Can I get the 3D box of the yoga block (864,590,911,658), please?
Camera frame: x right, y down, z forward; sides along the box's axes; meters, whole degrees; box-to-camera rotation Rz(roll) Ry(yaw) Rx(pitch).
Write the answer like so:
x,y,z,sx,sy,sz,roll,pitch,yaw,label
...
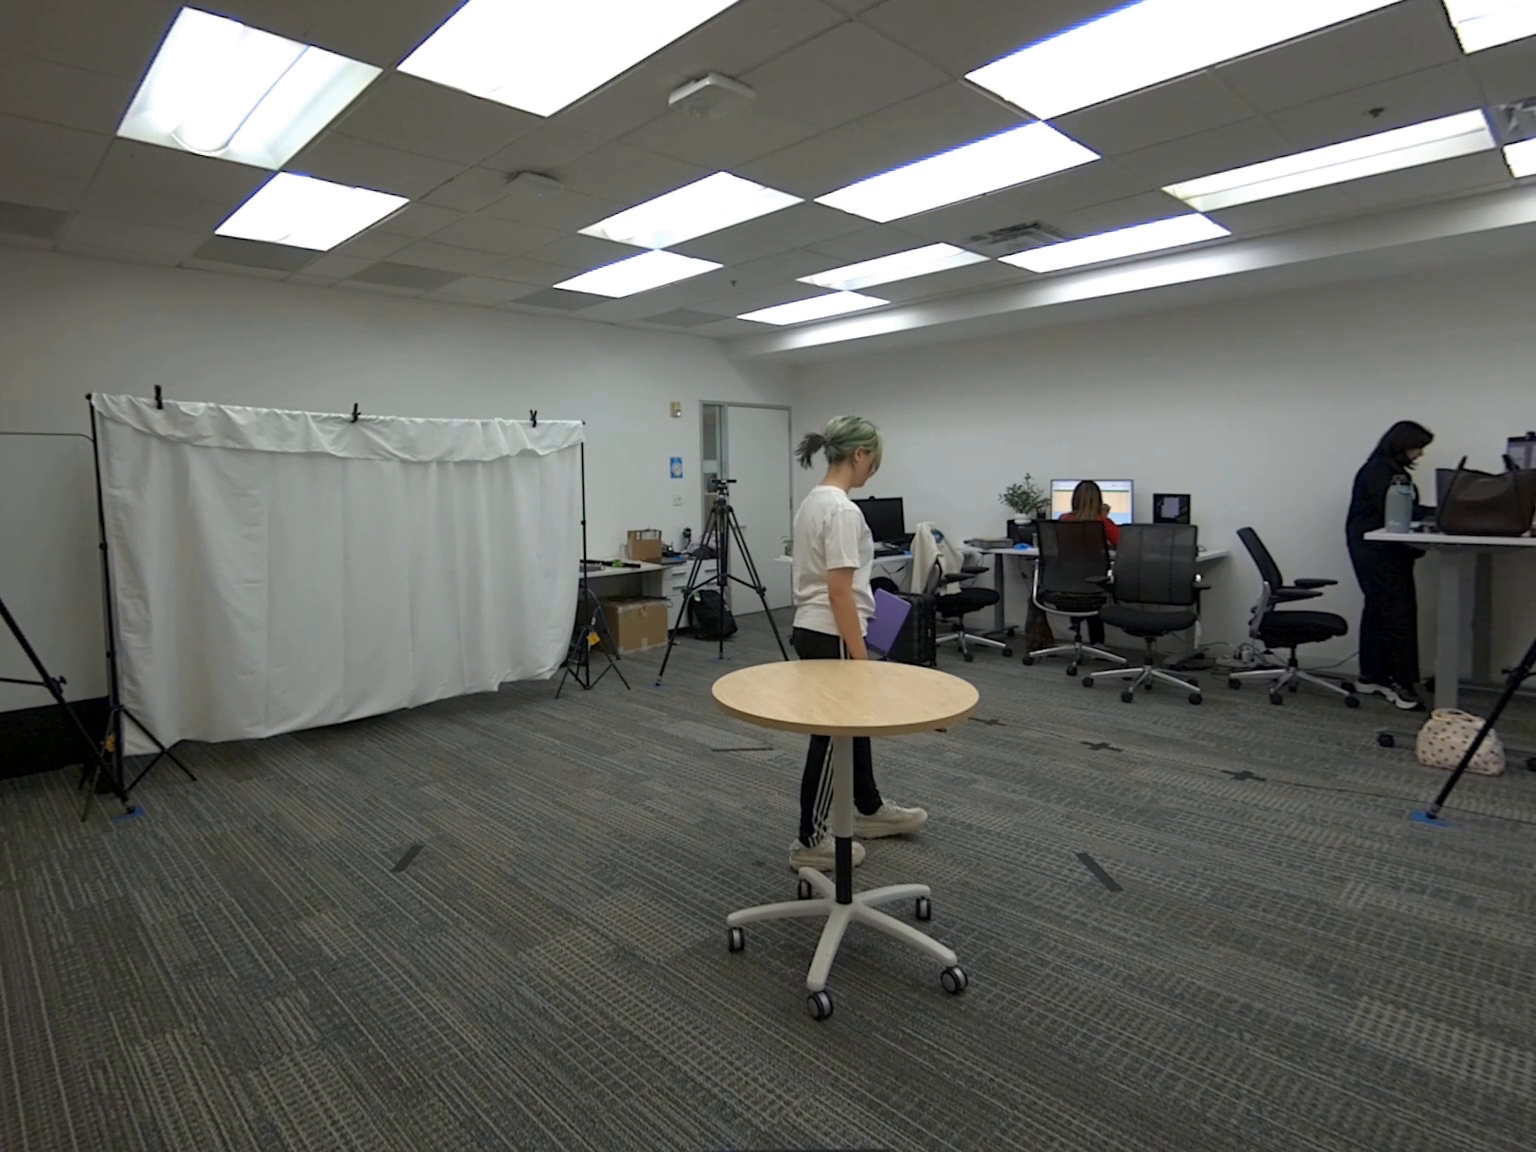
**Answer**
x,y,z,sx,sy,sz,roll,pitch,yaw,label
0.455,0.178,3.384,0.151,0.230,0.075,27,-12,9,yoga block
